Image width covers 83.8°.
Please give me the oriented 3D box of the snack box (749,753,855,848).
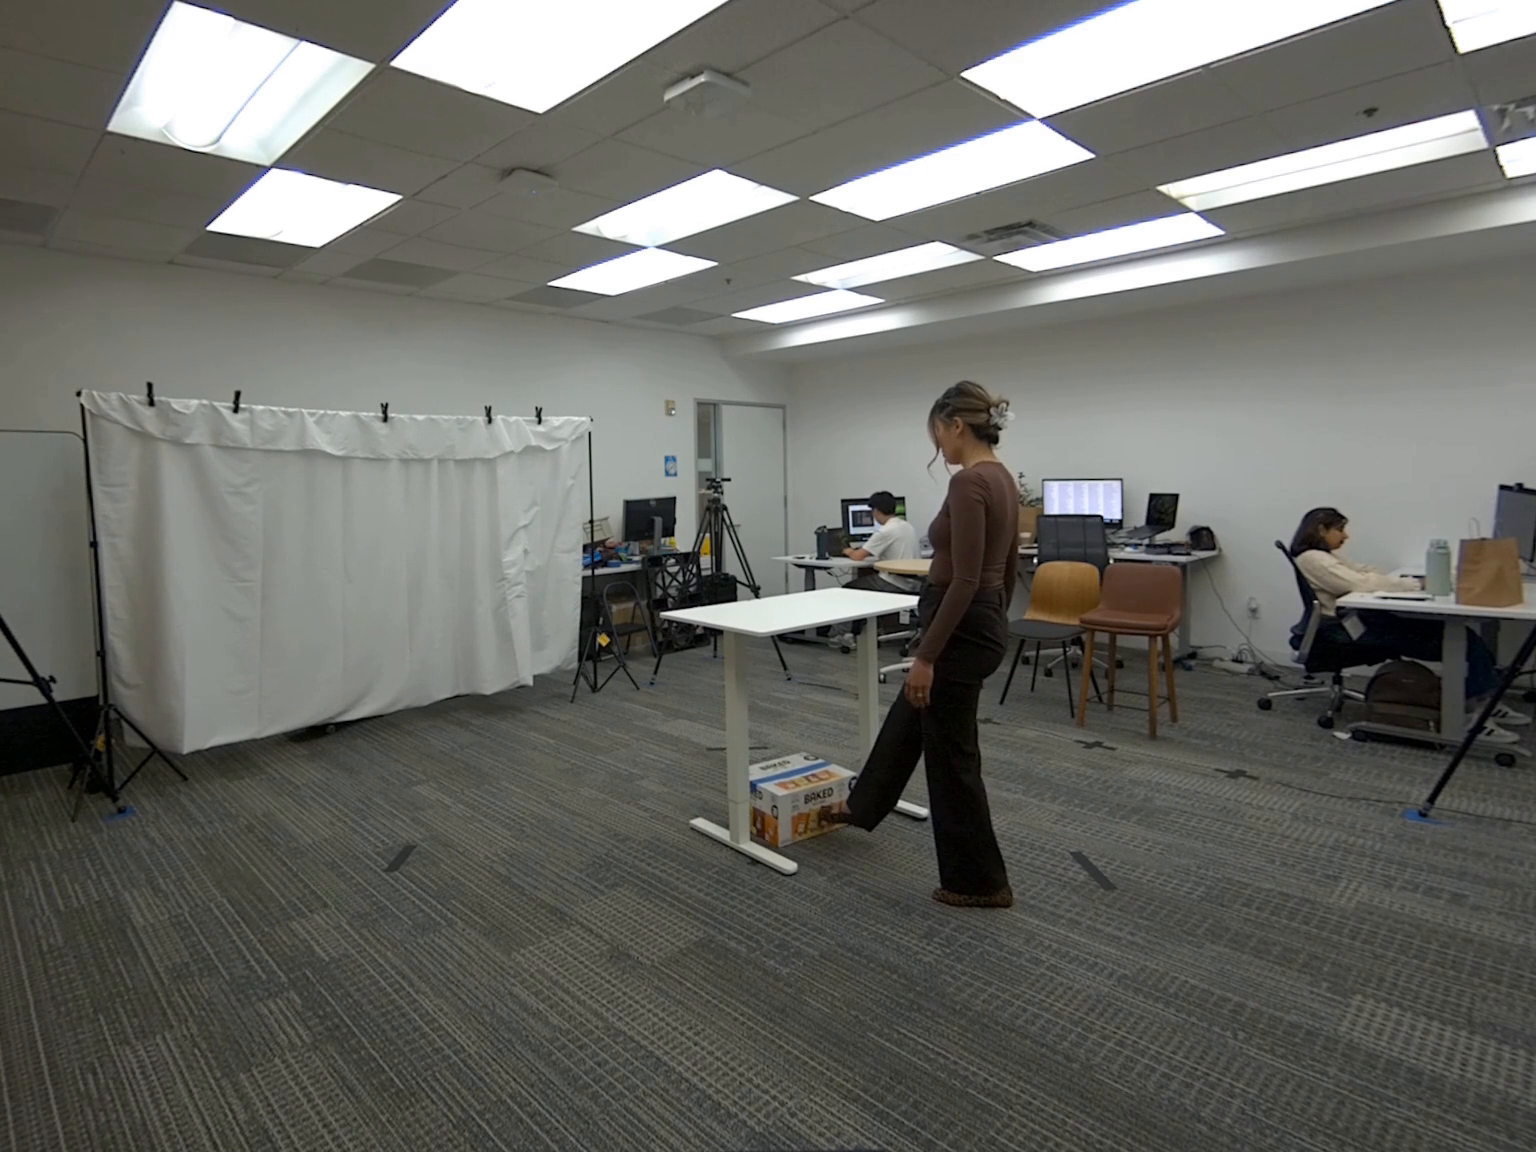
[{"bbox_3d":[0.103,0.897,3.469,0.395,0.205,0.350,-6,7,-35],"label":"snack box"}]
